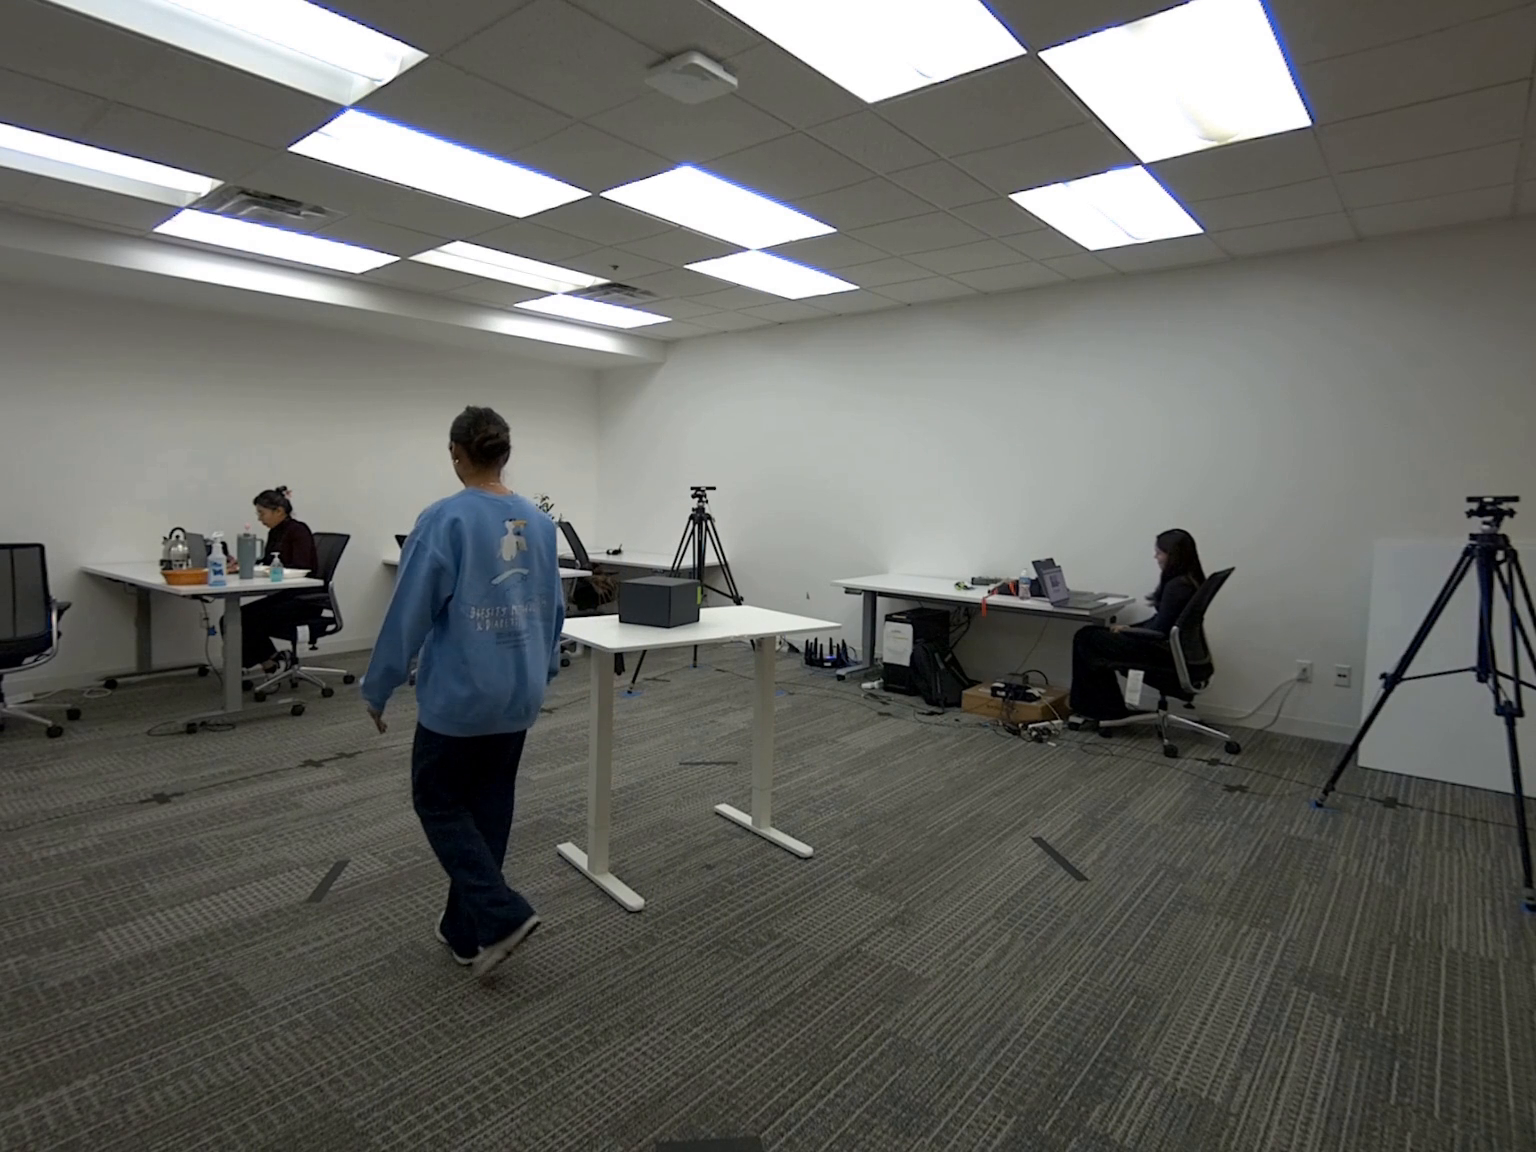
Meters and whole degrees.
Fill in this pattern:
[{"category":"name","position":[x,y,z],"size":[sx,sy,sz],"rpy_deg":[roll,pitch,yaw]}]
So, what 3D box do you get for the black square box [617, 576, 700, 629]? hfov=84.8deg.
[{"category":"black square box","position":[-0.412,0.091,3.181],"size":[0.234,0.155,0.212],"rpy_deg":[4,6,28]}]
